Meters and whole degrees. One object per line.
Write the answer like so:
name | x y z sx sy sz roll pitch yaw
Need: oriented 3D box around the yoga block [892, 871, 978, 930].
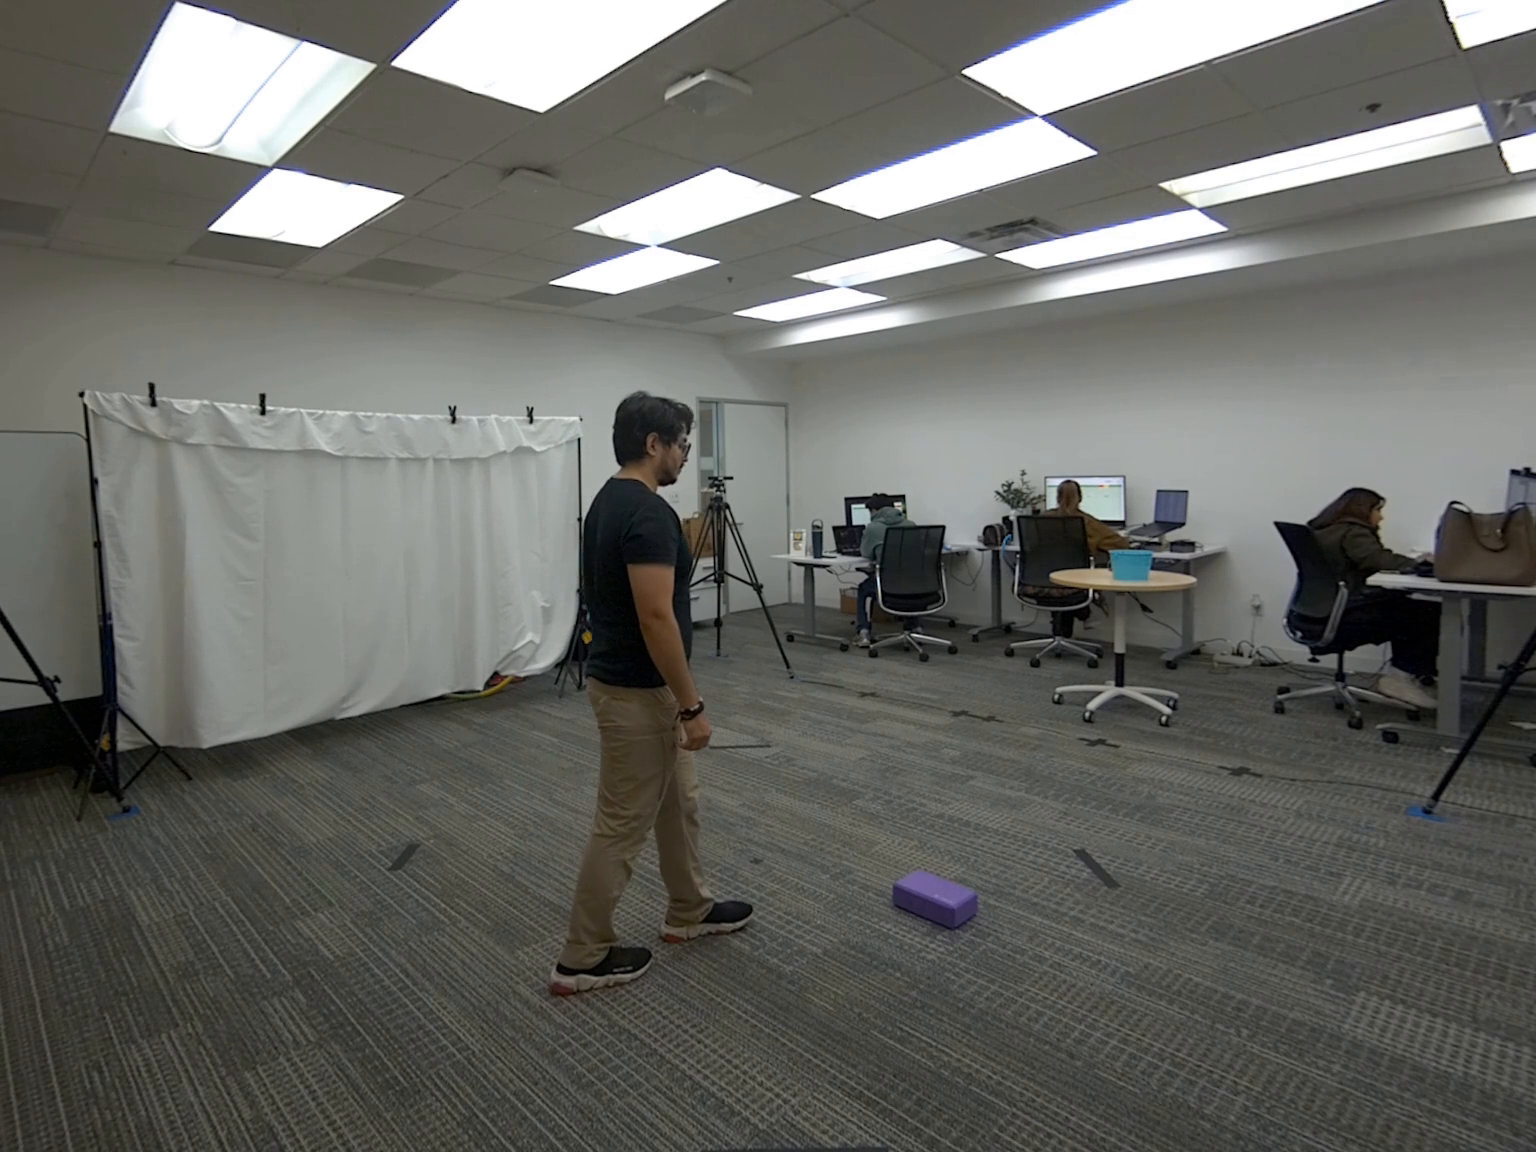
yoga block | 0.537 1.031 2.727 0.145 0.076 0.236 -7 8 -44
